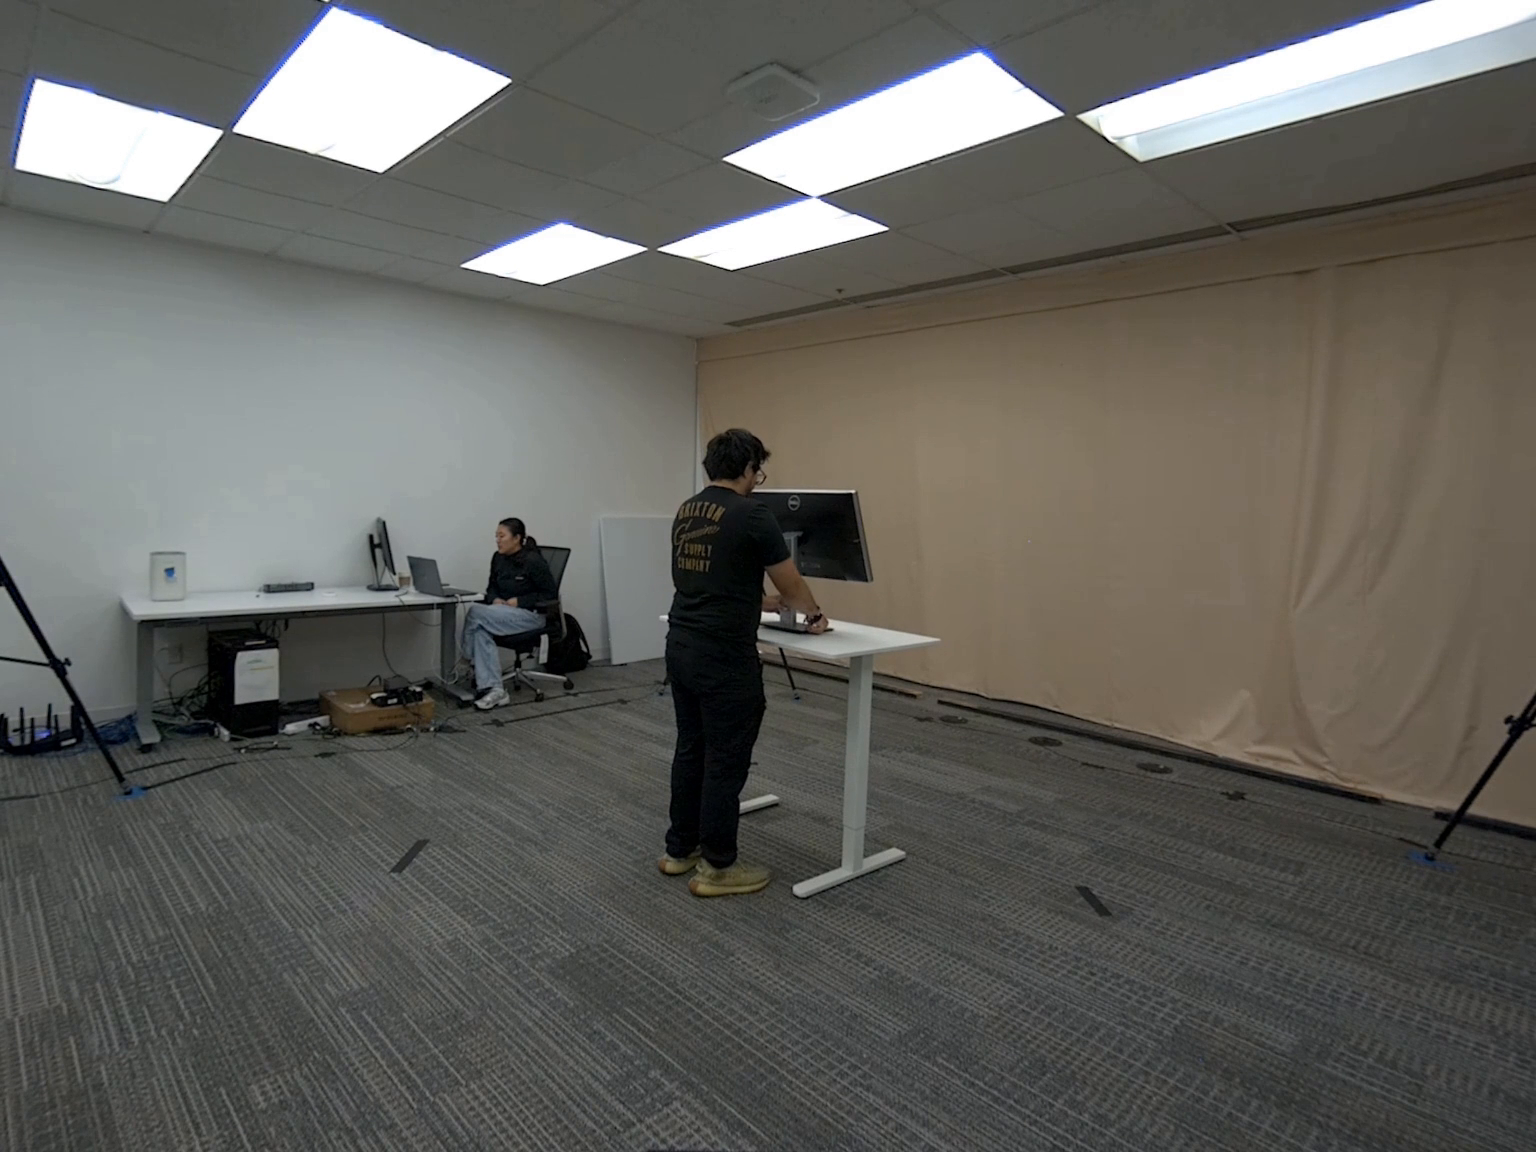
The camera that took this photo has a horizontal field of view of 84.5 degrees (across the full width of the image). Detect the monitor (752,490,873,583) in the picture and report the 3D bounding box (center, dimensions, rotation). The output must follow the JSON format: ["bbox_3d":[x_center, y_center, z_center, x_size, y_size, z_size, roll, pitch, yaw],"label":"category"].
[{"bbox_3d":[0.102,-0.061,3.290,0.580,0.549,0.207,5,16,43],"label":"monitor"}]
